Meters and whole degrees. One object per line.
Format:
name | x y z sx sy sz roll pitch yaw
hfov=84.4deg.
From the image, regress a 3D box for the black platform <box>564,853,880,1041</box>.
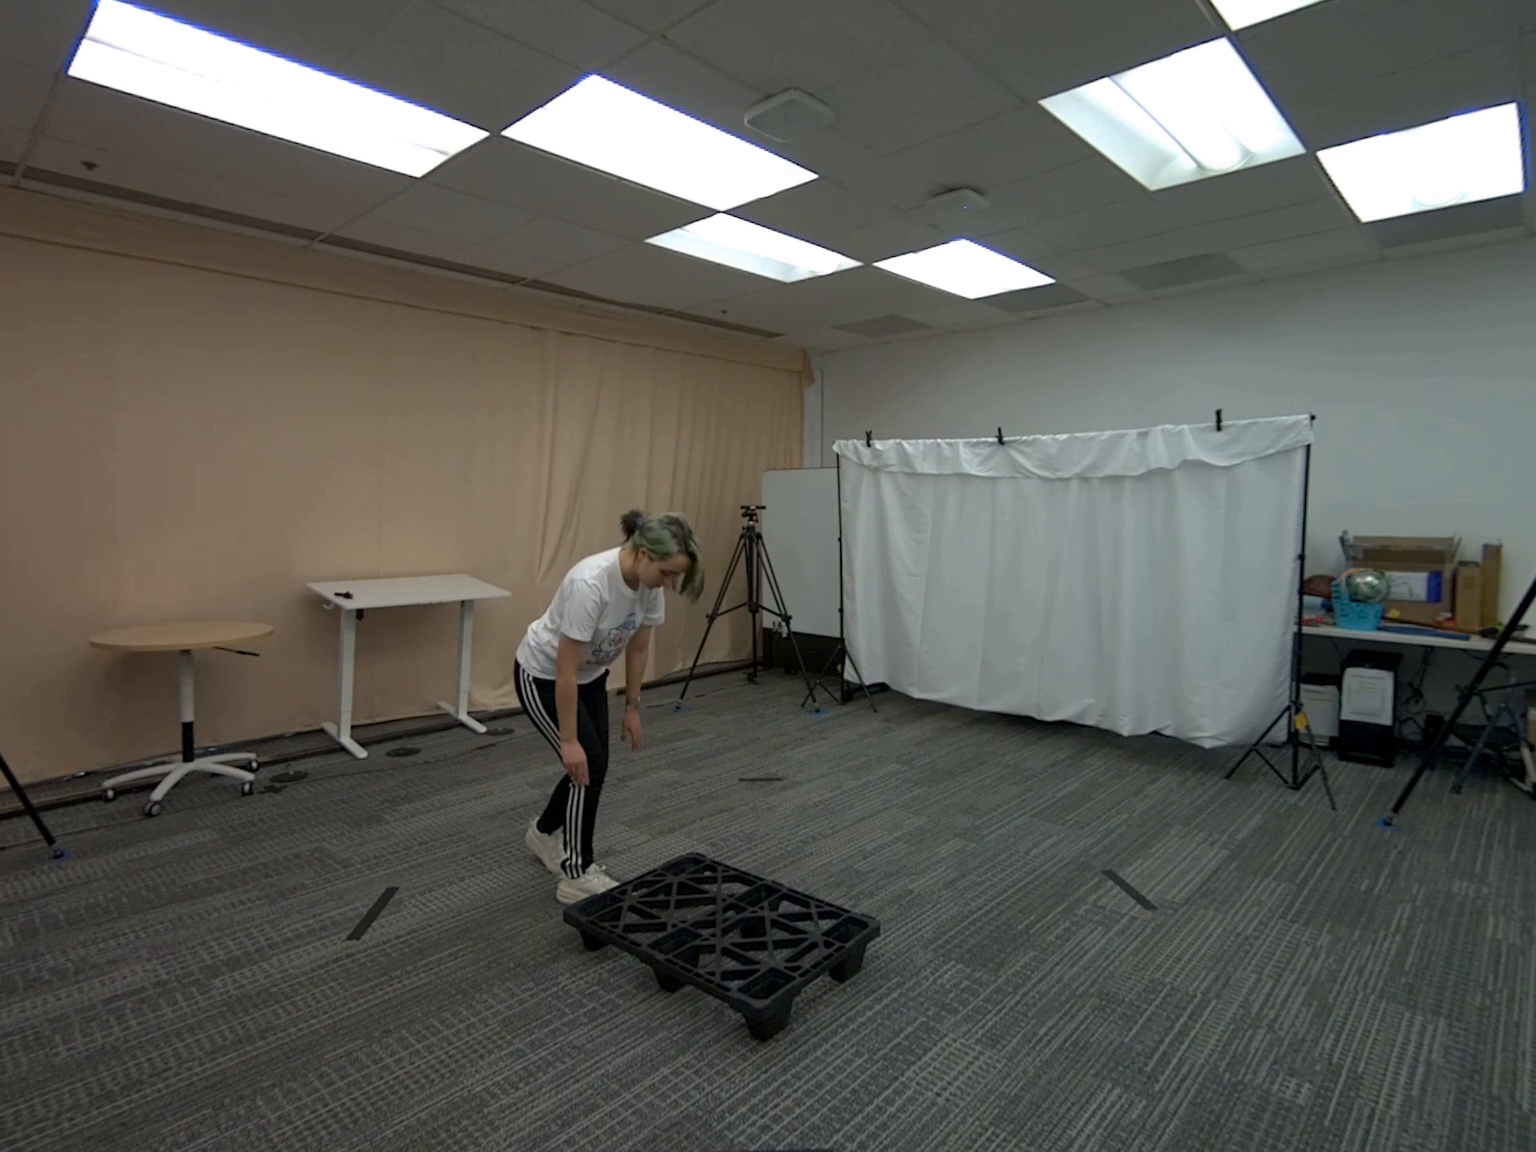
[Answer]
black platform | -0.149 1.111 2.596 0.832 0.143 0.587 4 5 39
